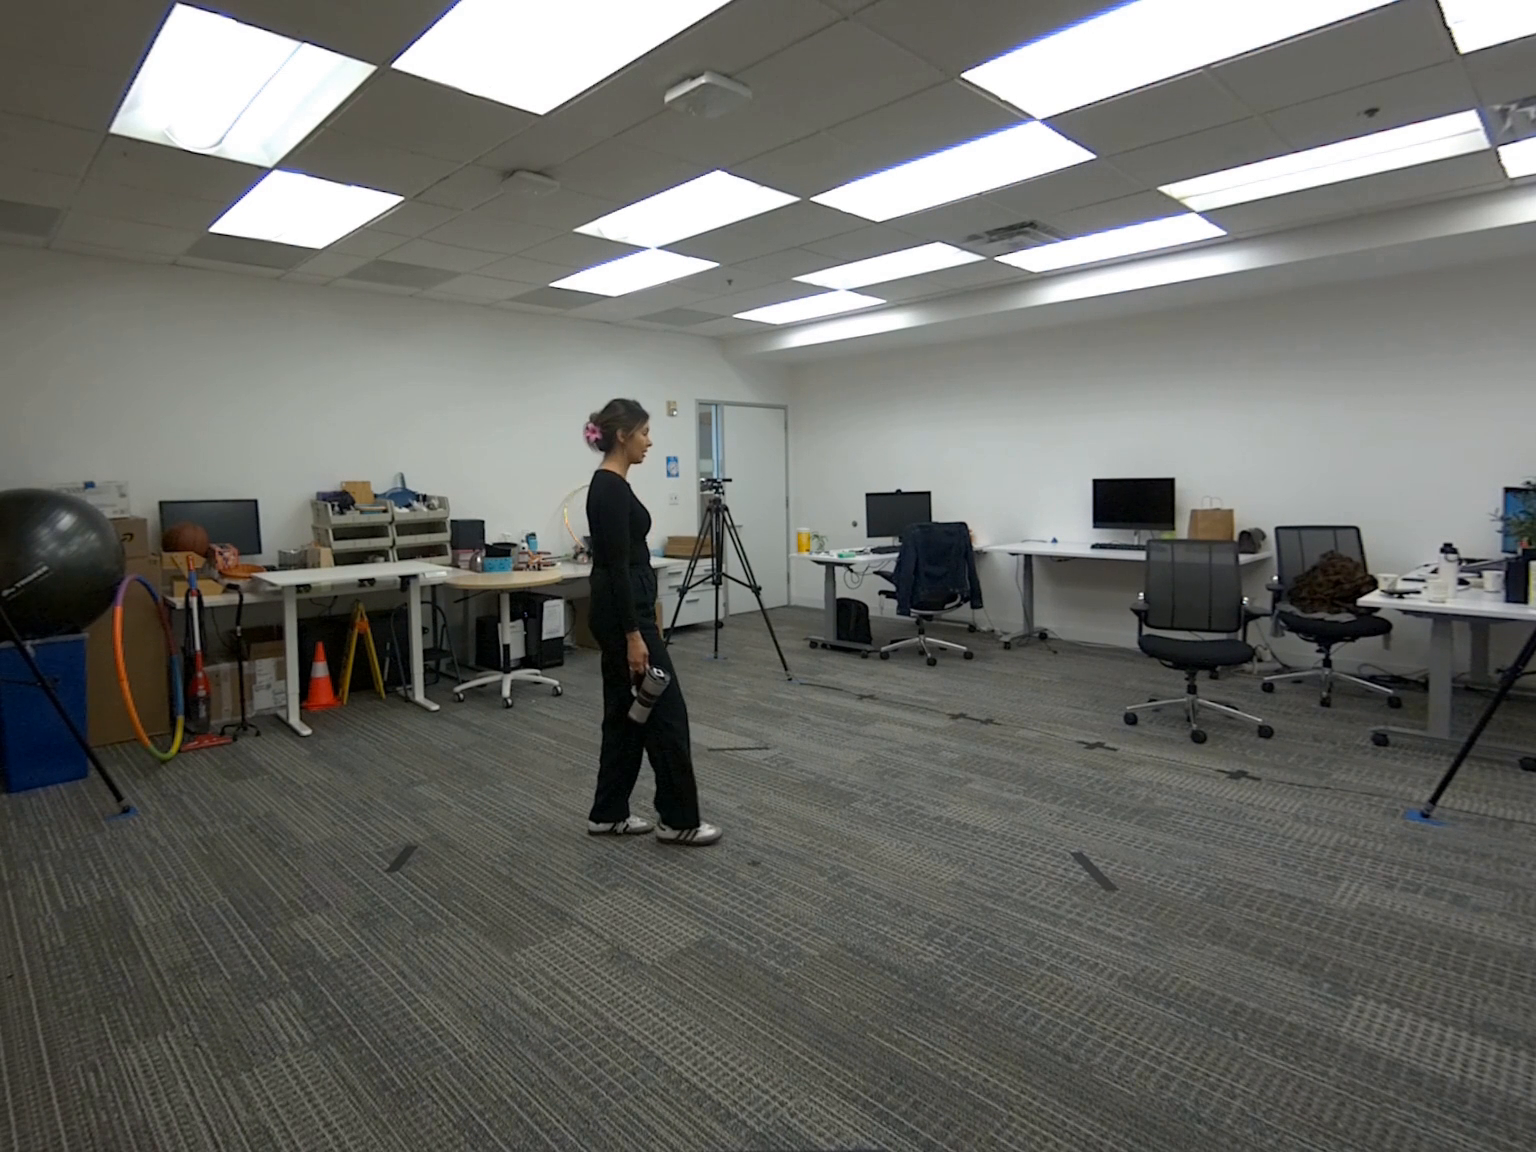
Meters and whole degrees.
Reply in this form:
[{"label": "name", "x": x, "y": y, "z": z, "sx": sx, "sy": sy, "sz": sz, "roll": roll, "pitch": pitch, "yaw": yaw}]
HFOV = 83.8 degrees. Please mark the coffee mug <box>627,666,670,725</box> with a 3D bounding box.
[{"label": "coffee mug", "x": -0.431, "y": 0.444, "z": 3.099, "sx": 0.091, "sy": 0.201, "sz": 0.118, "roll": 29, "pitch": 16, "yaw": 36}]
